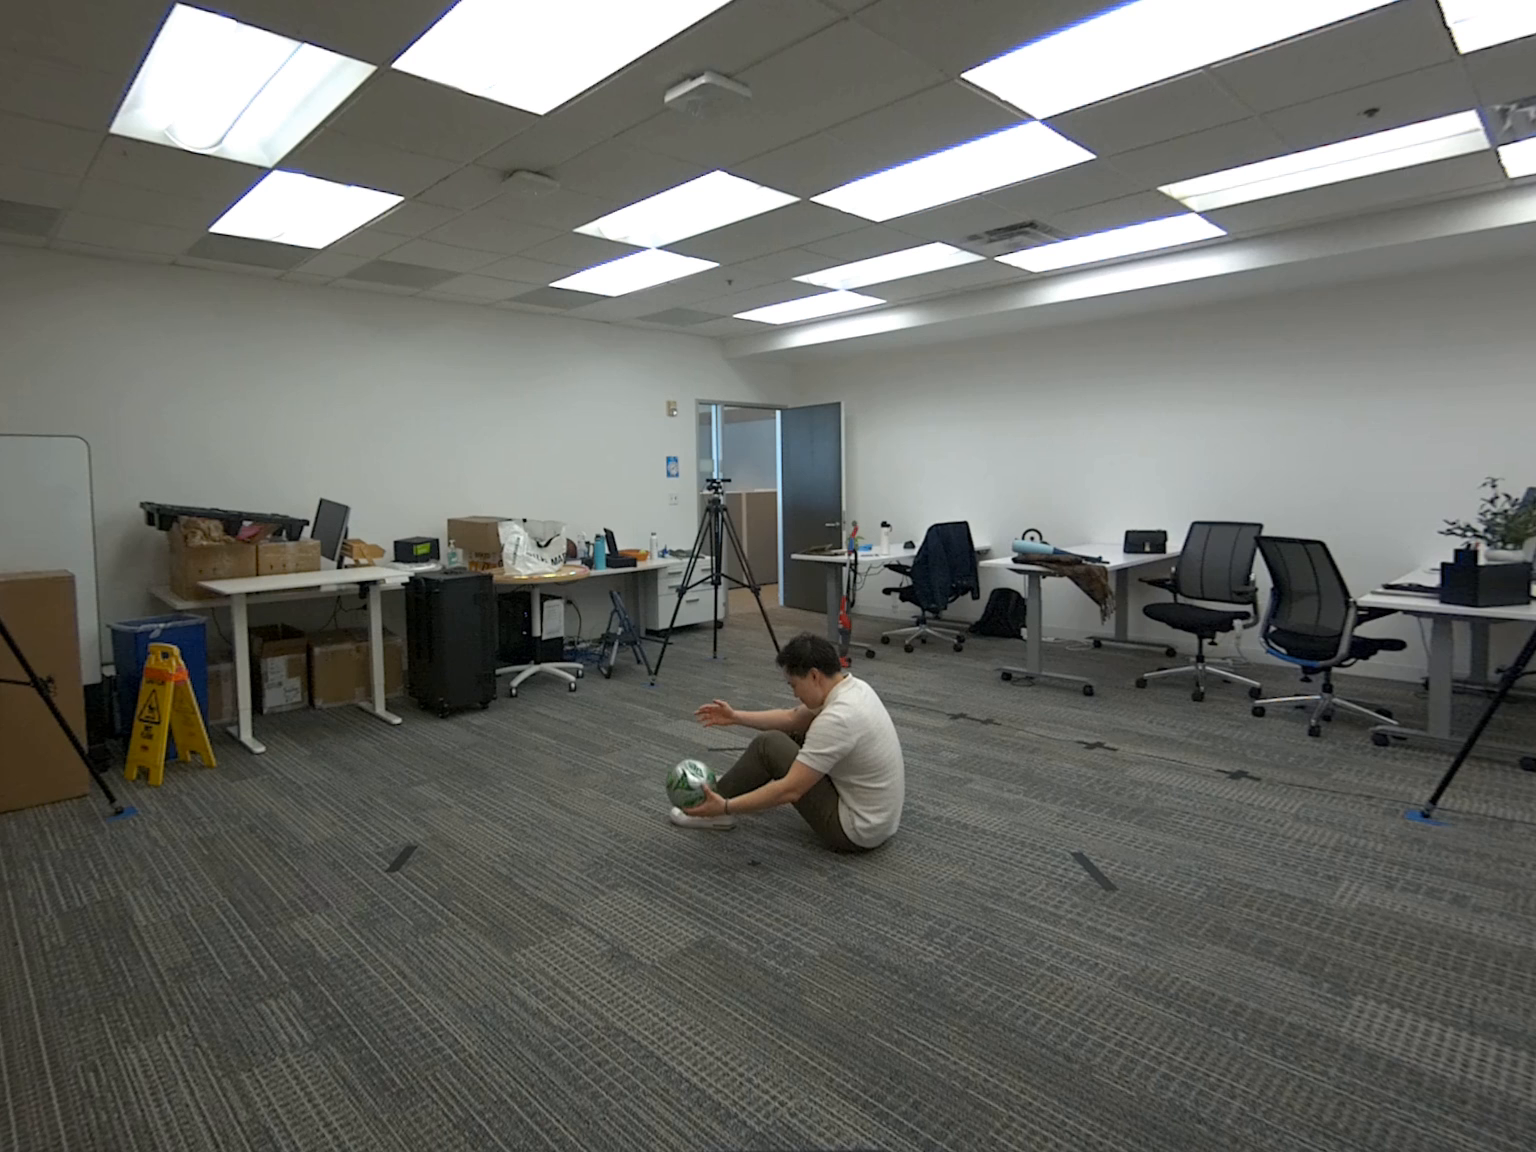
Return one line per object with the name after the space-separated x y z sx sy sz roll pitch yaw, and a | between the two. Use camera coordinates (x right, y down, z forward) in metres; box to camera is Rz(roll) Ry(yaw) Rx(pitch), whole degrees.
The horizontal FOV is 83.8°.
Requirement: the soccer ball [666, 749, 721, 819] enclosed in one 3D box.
-0.272 0.751 3.120 0.187 0.187 0.188 -1 5 -2 | soccer ball
